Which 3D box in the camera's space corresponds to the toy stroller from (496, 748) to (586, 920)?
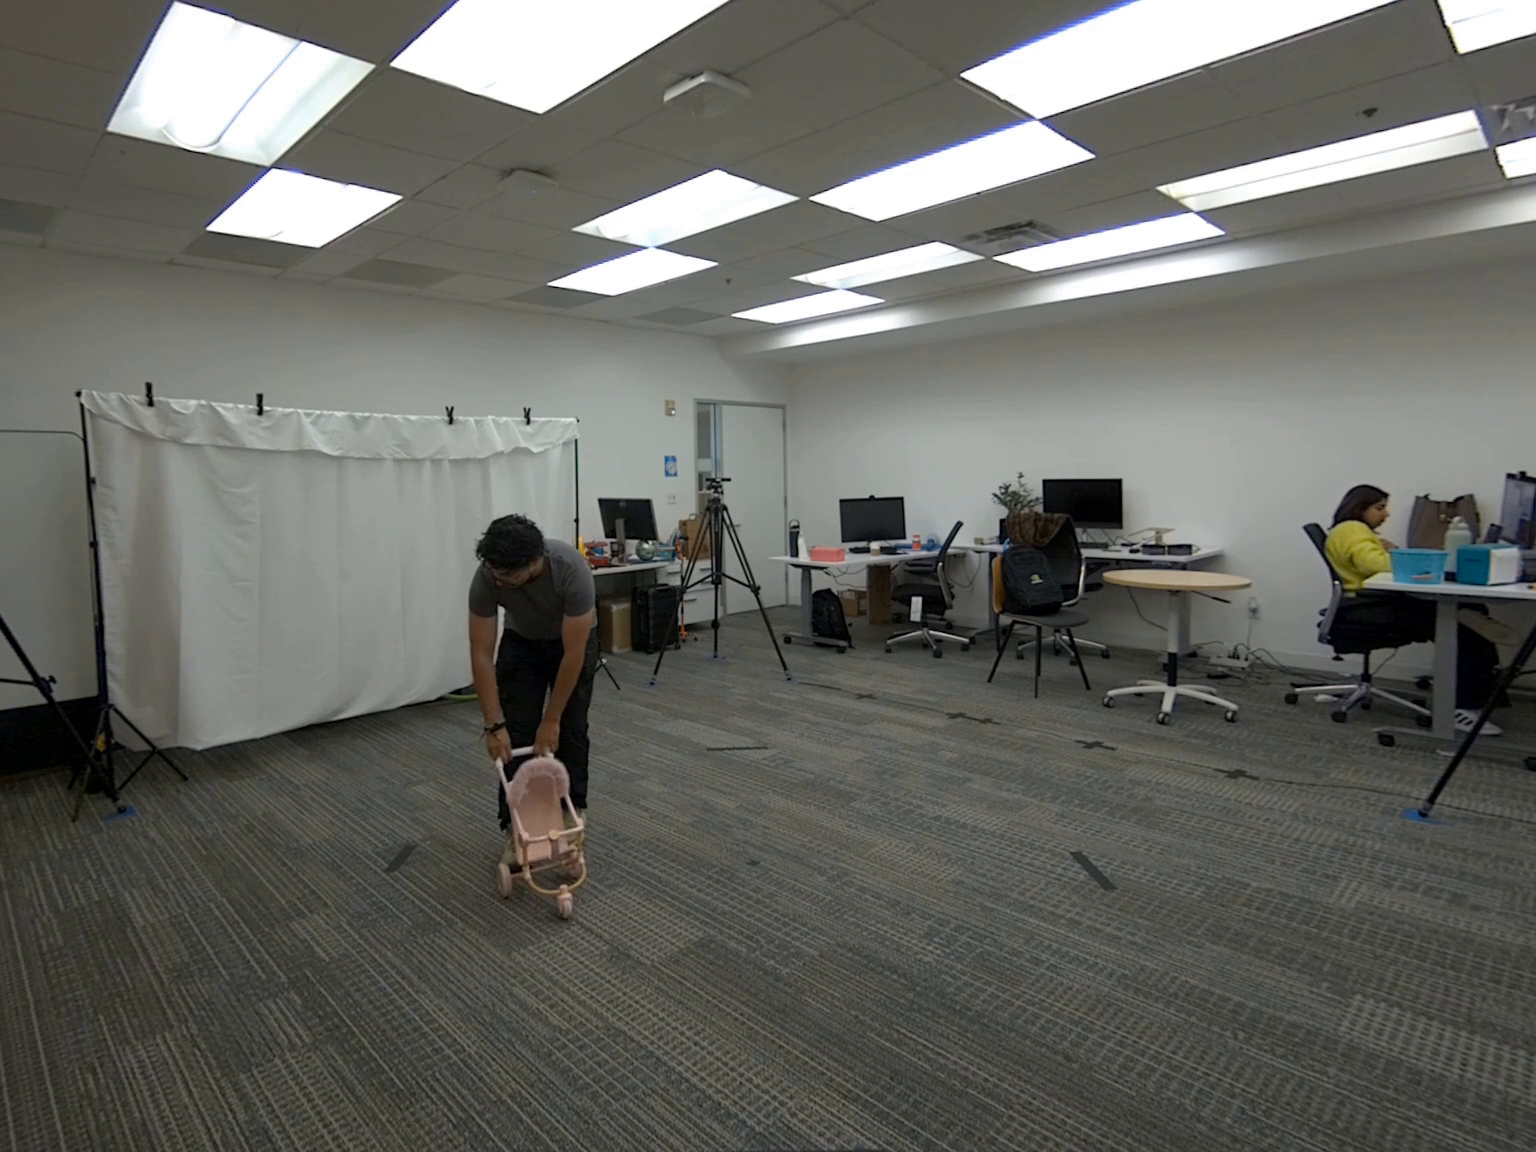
[{"bbox_3d":[-0.753,0.853,2.885,0.275,0.540,0.346,-4,-9,-29],"label":"toy stroller"}]
